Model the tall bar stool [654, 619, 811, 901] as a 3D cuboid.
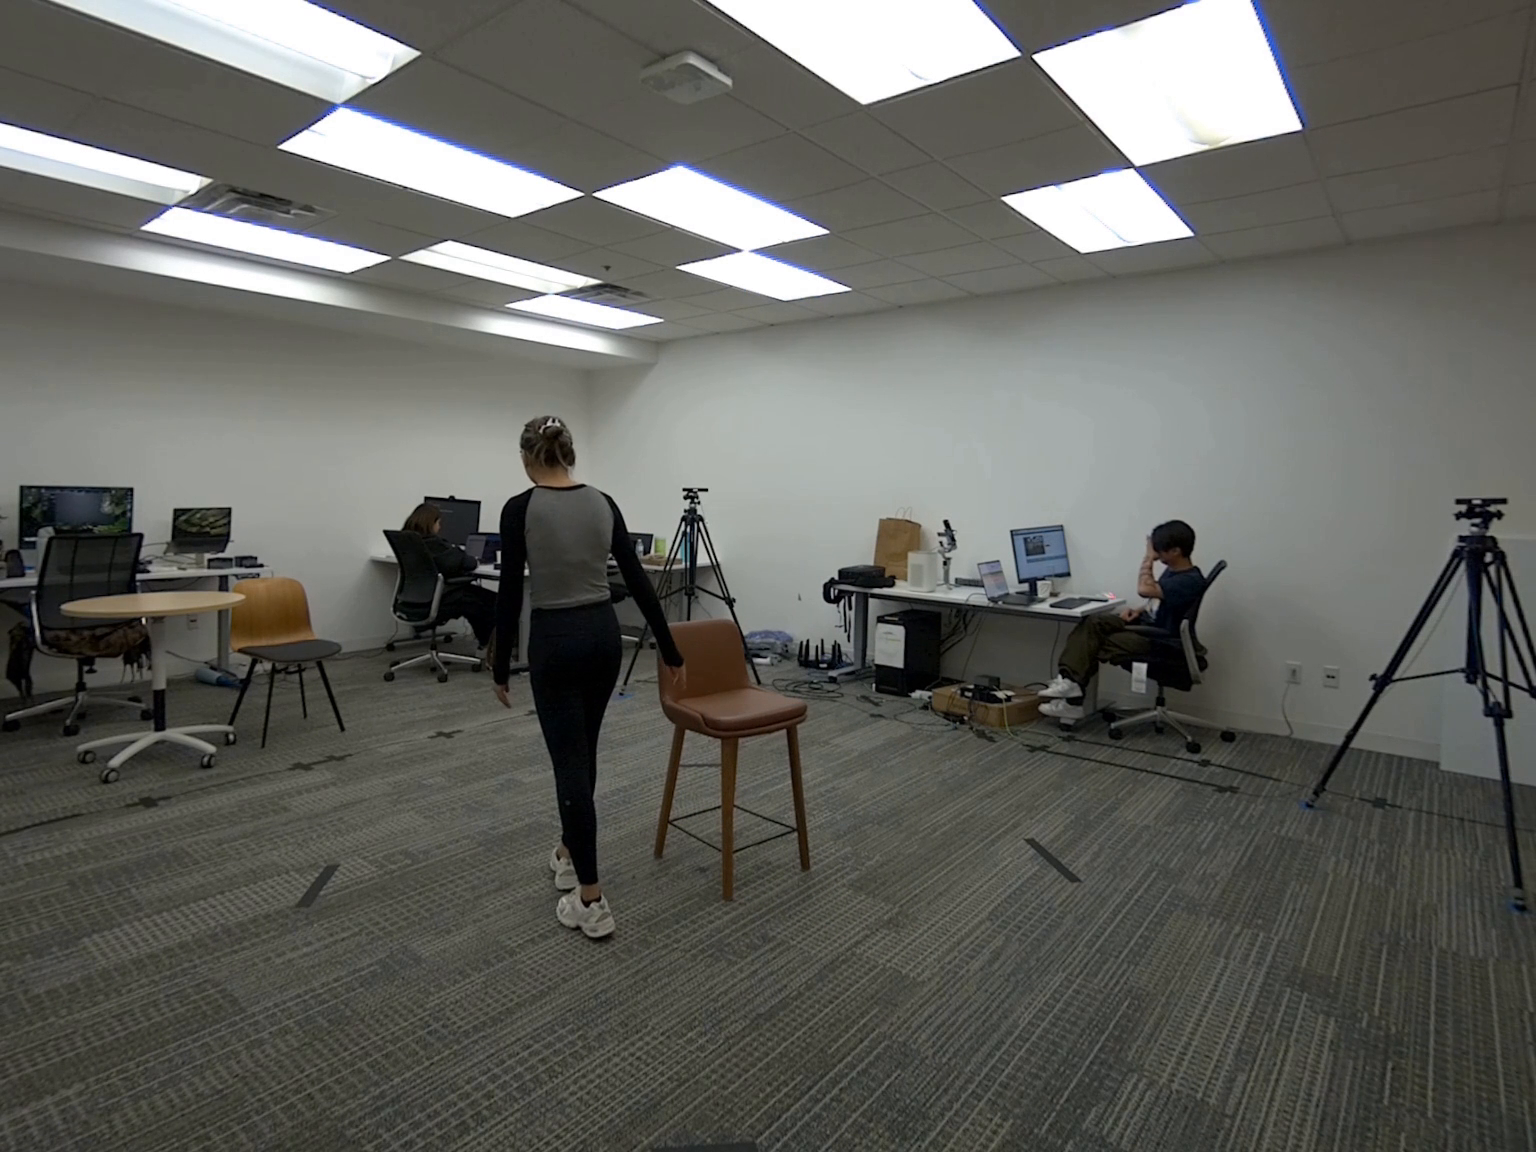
[{"bbox_3d":[-0.145,0.630,3.147,0.442,0.888,0.483,-2,2,-43],"label":"tall bar stool"}]
